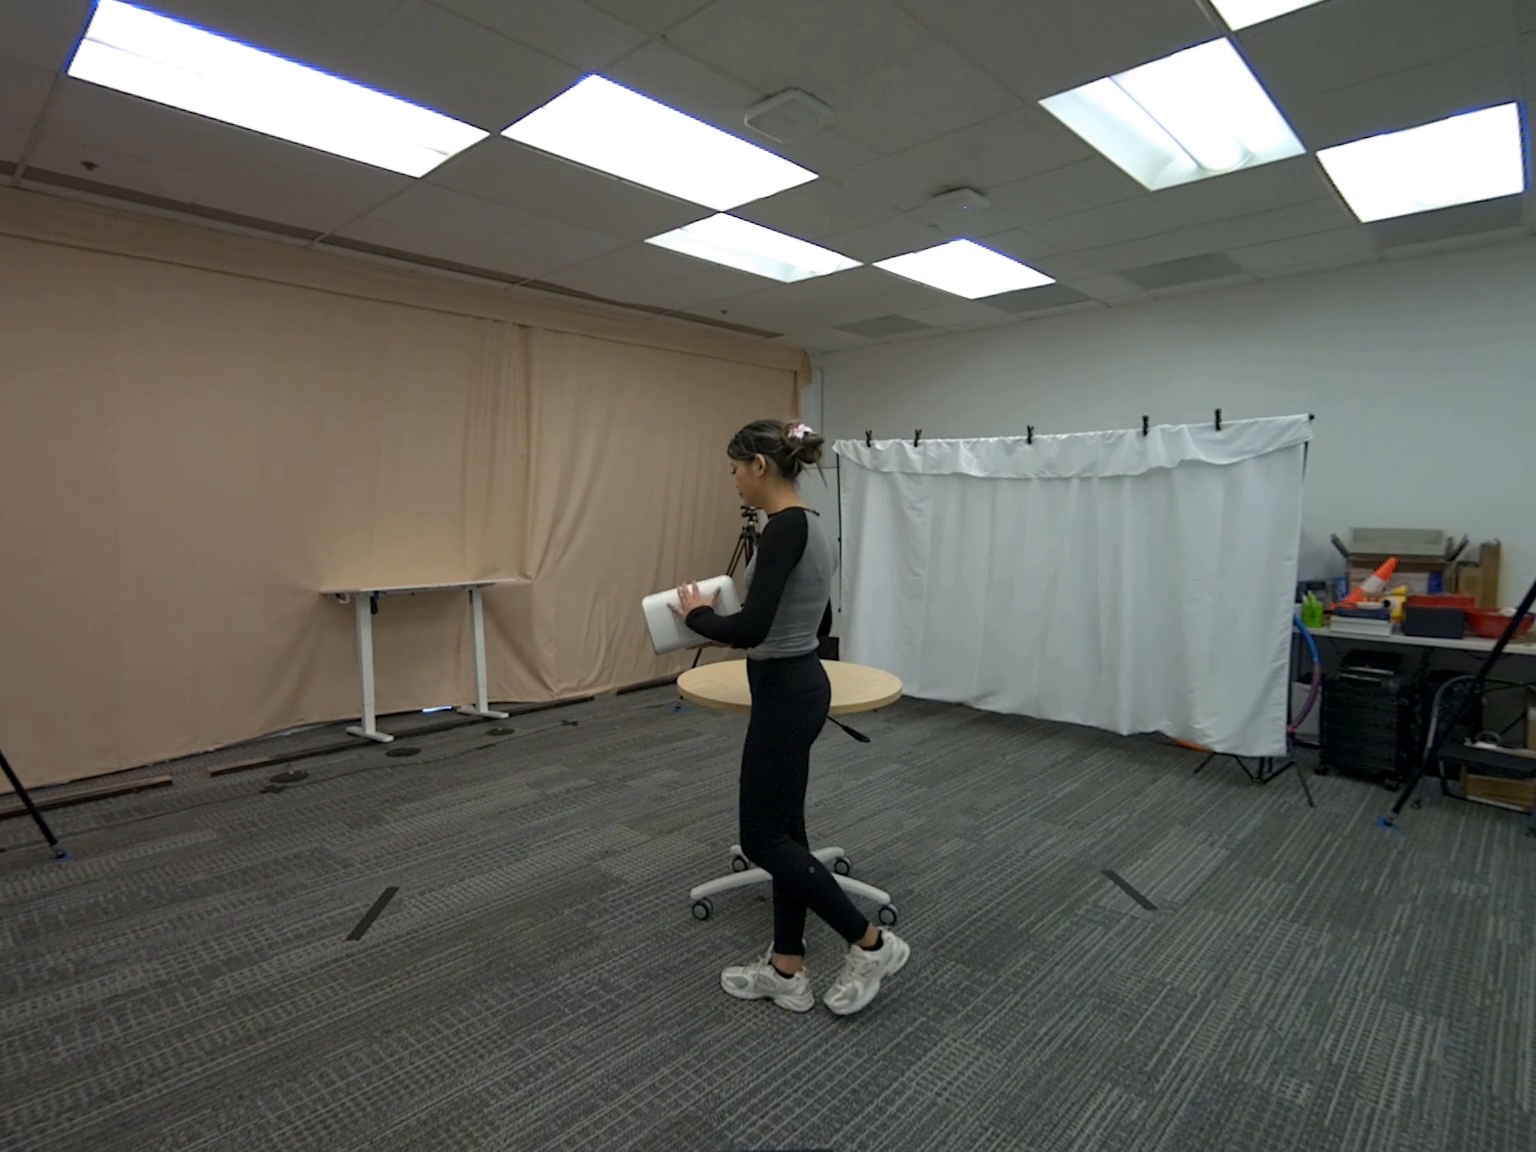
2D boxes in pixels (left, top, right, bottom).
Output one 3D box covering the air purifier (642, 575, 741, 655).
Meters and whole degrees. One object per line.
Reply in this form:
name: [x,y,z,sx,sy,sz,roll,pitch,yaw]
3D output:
air purifier: [-0.221,0.113,2.446,0.266,0.171,0.171,-14,3,2]
